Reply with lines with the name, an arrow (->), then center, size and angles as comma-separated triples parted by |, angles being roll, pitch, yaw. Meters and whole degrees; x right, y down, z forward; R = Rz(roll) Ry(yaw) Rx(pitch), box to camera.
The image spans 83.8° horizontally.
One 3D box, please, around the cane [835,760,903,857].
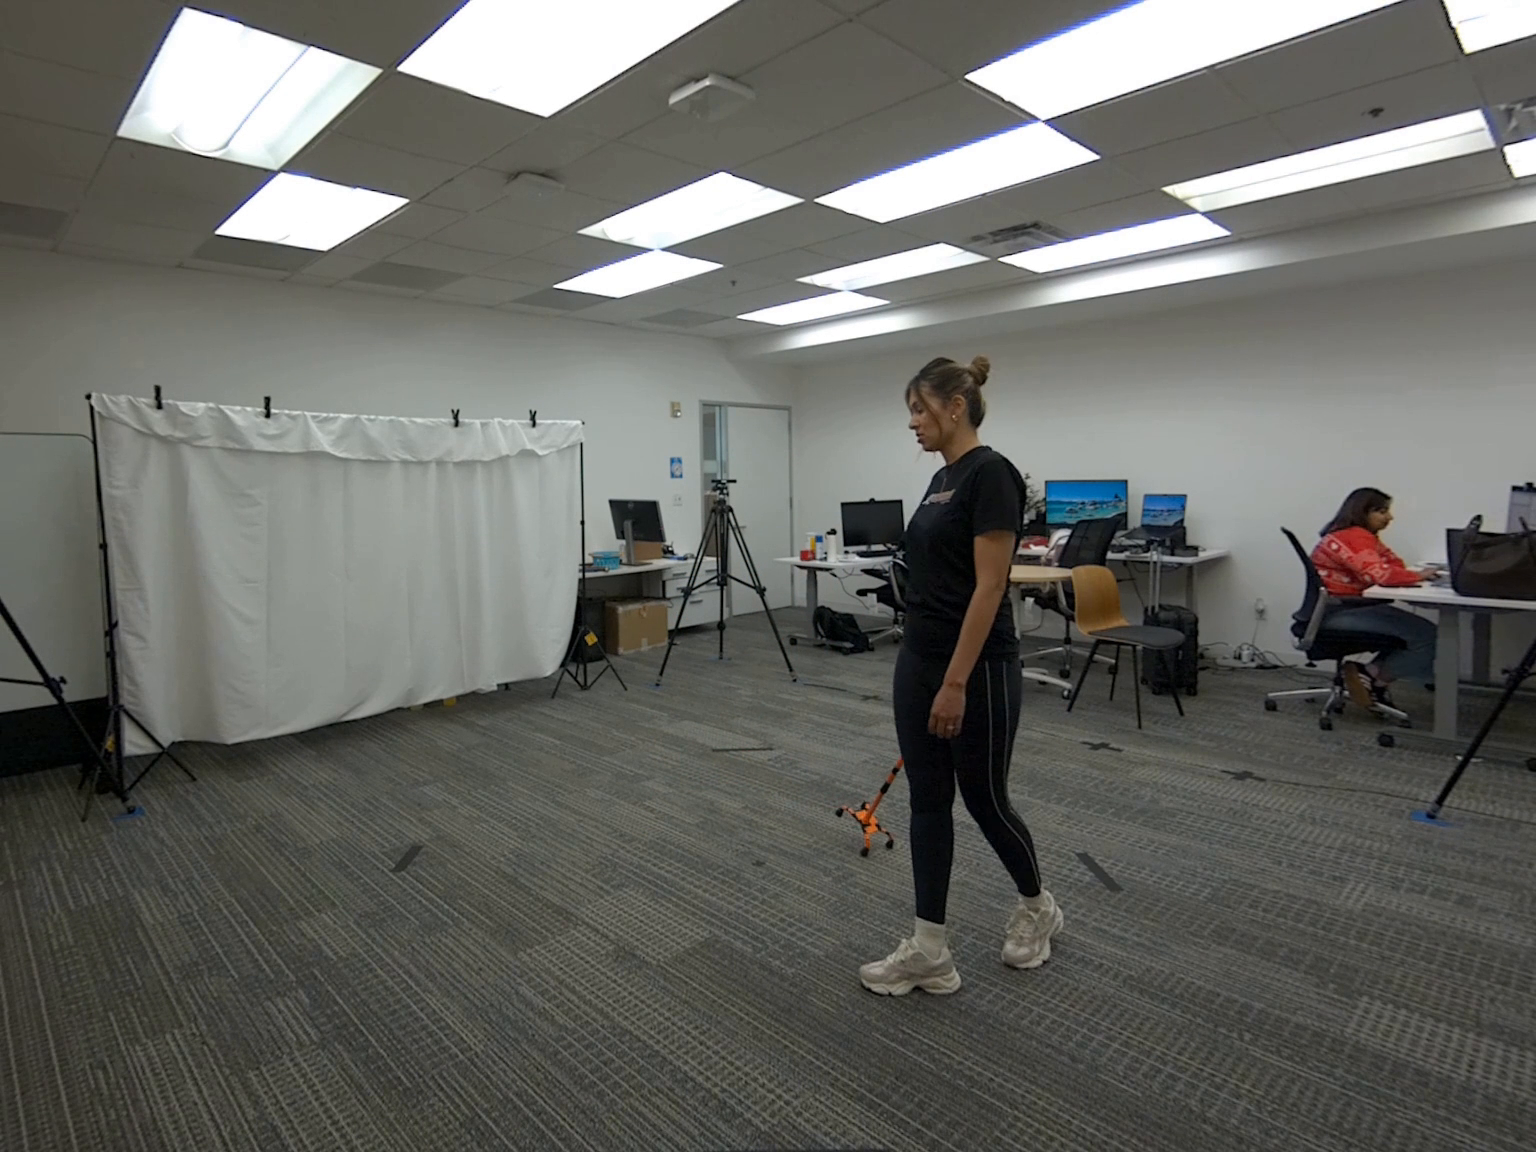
cane -> 0.496, 0.623, 3.012 | 0.148, 0.895, 0.214 | -4, 40, -33
